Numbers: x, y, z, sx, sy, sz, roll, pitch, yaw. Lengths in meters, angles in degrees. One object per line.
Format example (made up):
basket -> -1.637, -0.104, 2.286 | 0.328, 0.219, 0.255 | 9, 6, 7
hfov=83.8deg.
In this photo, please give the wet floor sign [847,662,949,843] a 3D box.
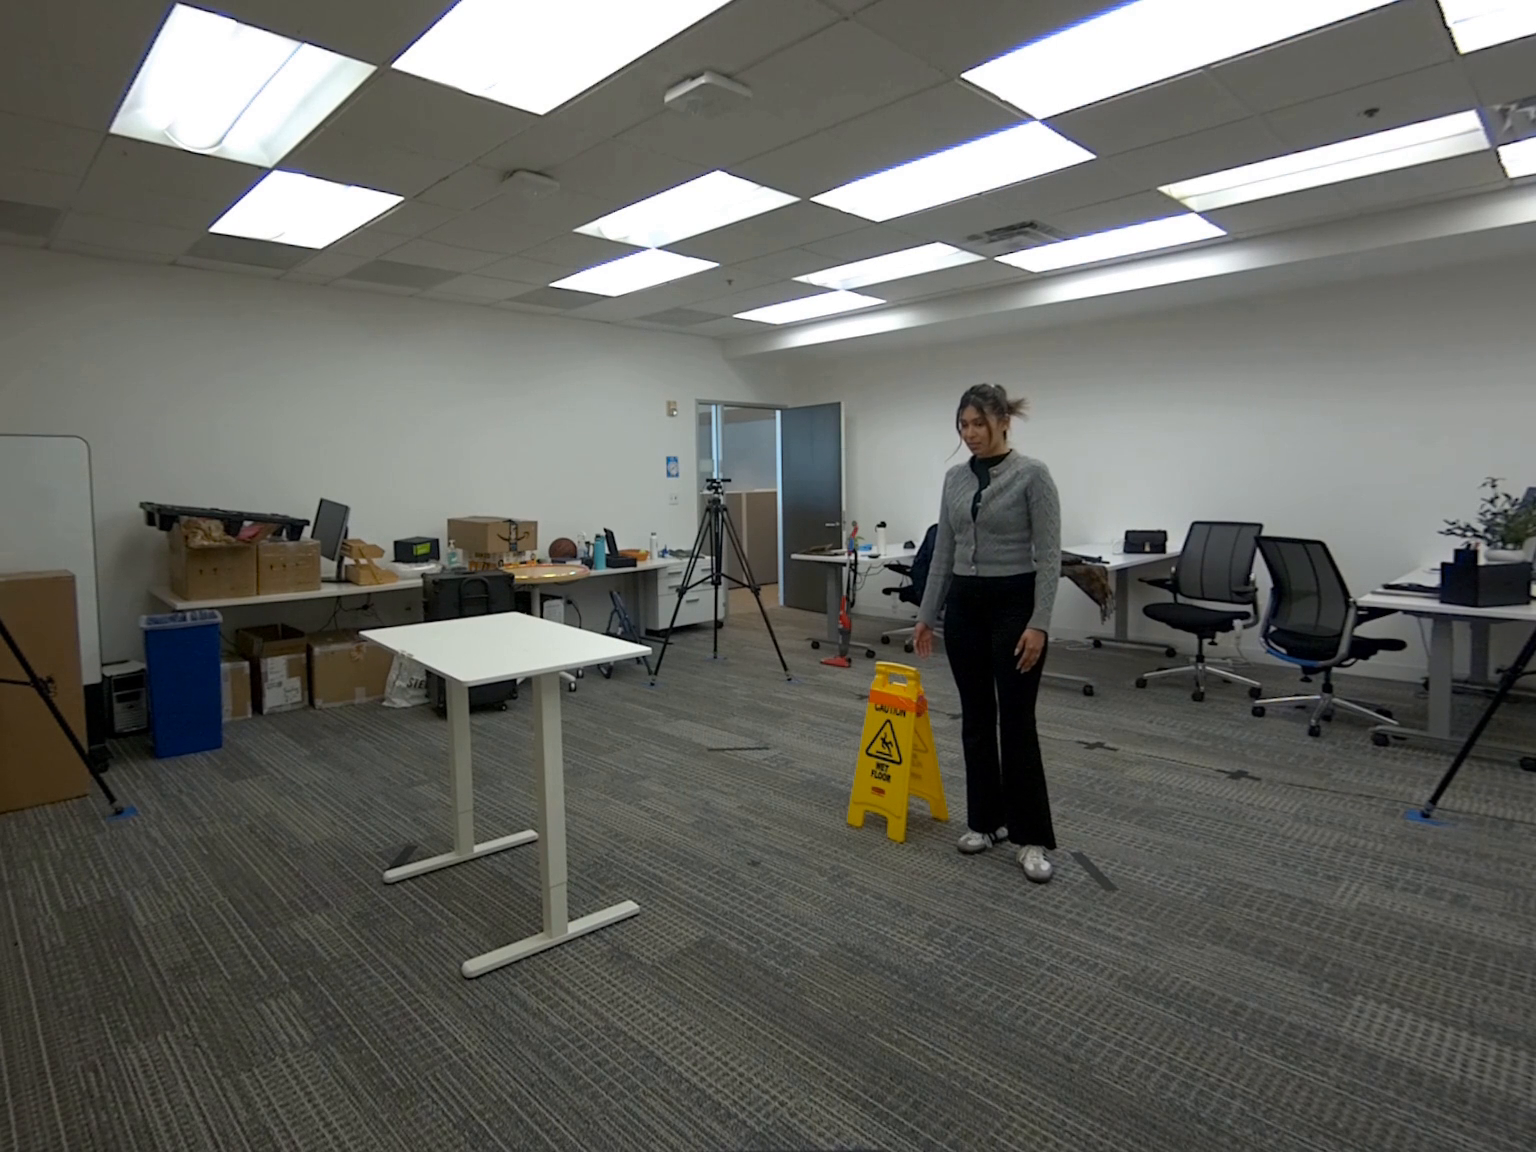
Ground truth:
wet floor sign -> 0.520, 0.678, 3.440 | 0.282, 0.644, 0.291 | -5, 5, -44
